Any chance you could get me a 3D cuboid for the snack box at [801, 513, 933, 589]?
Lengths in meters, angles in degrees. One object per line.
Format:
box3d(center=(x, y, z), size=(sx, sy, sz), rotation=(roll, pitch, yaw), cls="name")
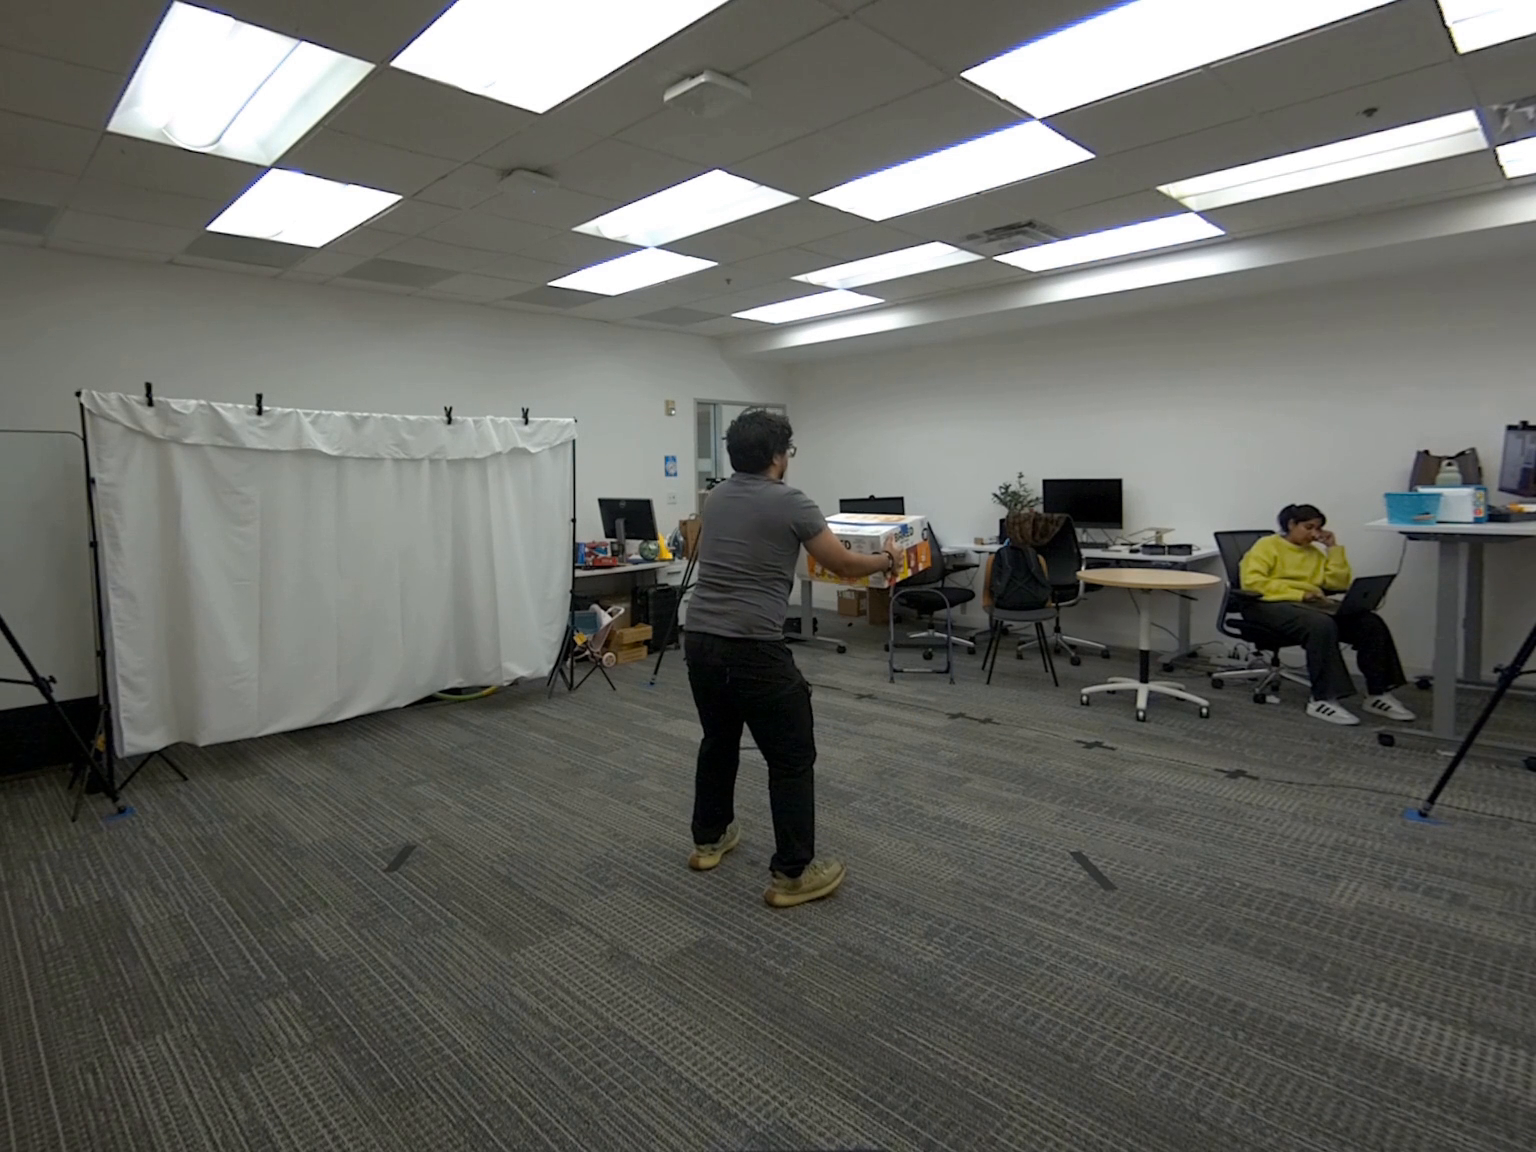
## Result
box3d(center=(0.372, -0.103, 3.358), size=(0.417, 0.203, 0.334), rotation=(5, 17, 40), cls="snack box")
